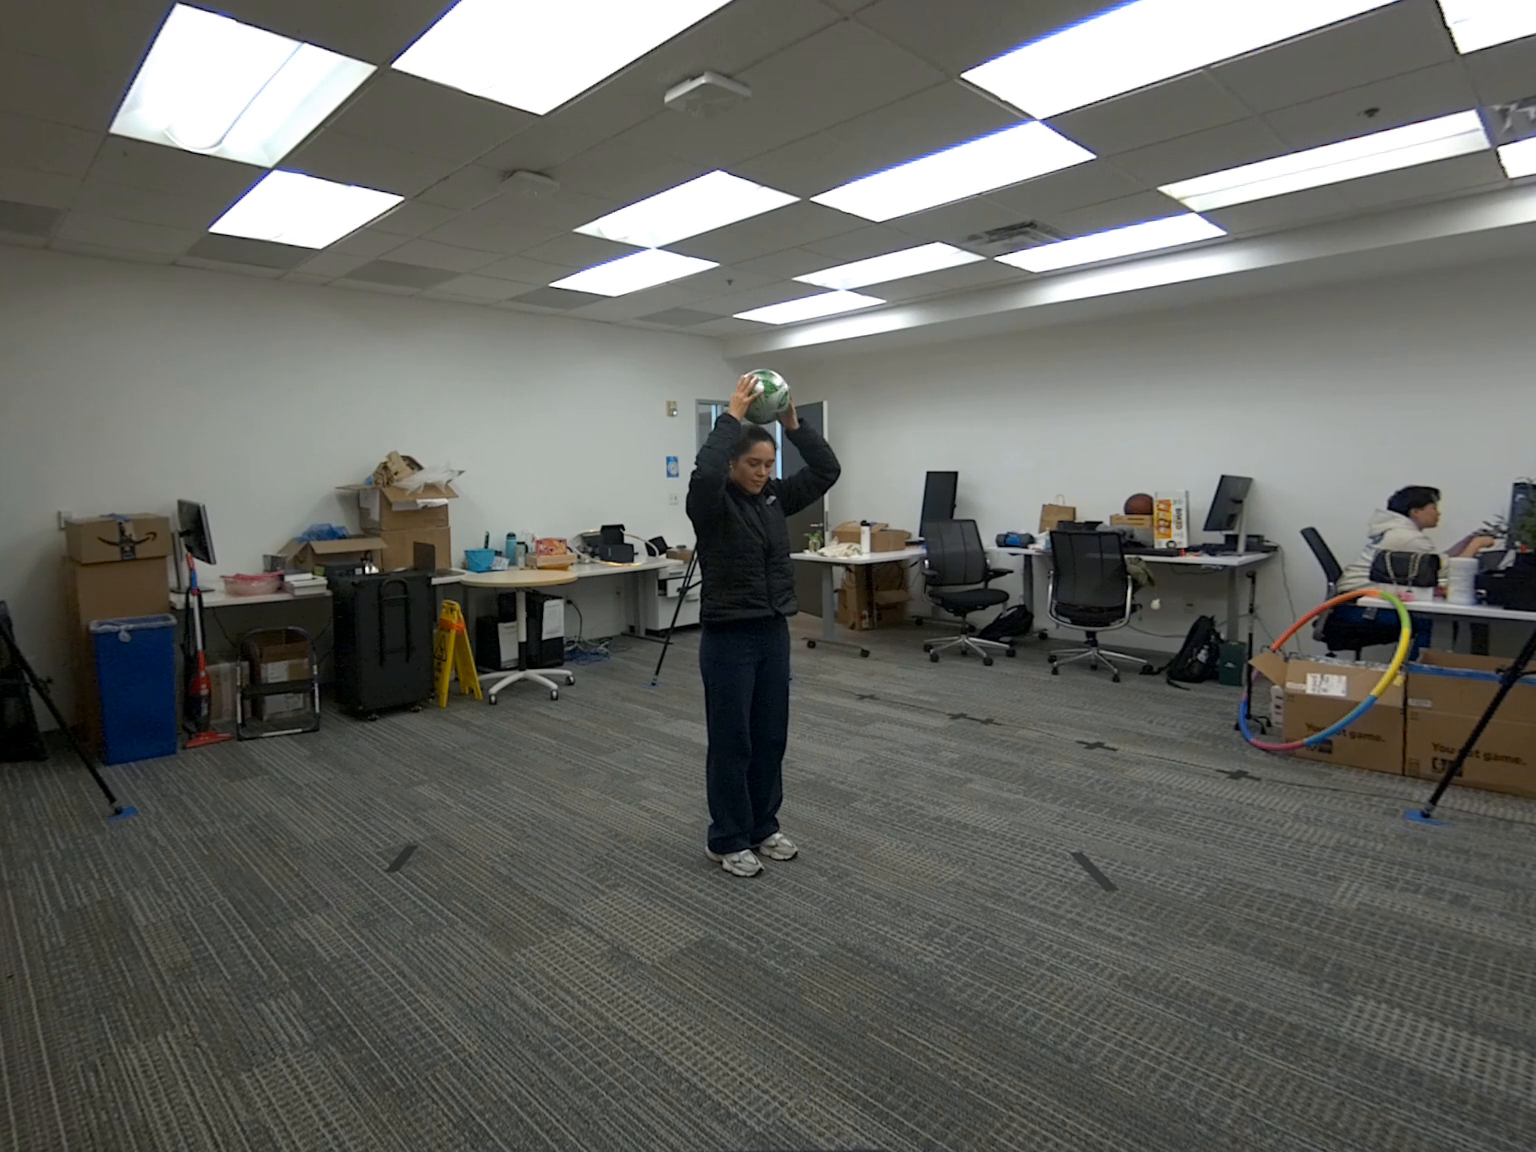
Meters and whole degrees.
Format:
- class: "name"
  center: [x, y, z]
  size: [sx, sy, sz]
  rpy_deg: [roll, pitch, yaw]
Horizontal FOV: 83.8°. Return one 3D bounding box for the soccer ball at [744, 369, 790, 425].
- class: "soccer ball"
  center: [-0.013, -0.604, 2.931]
  size: [0.187, 0.187, 0.188]
  rpy_deg: [-1, 5, -2]
